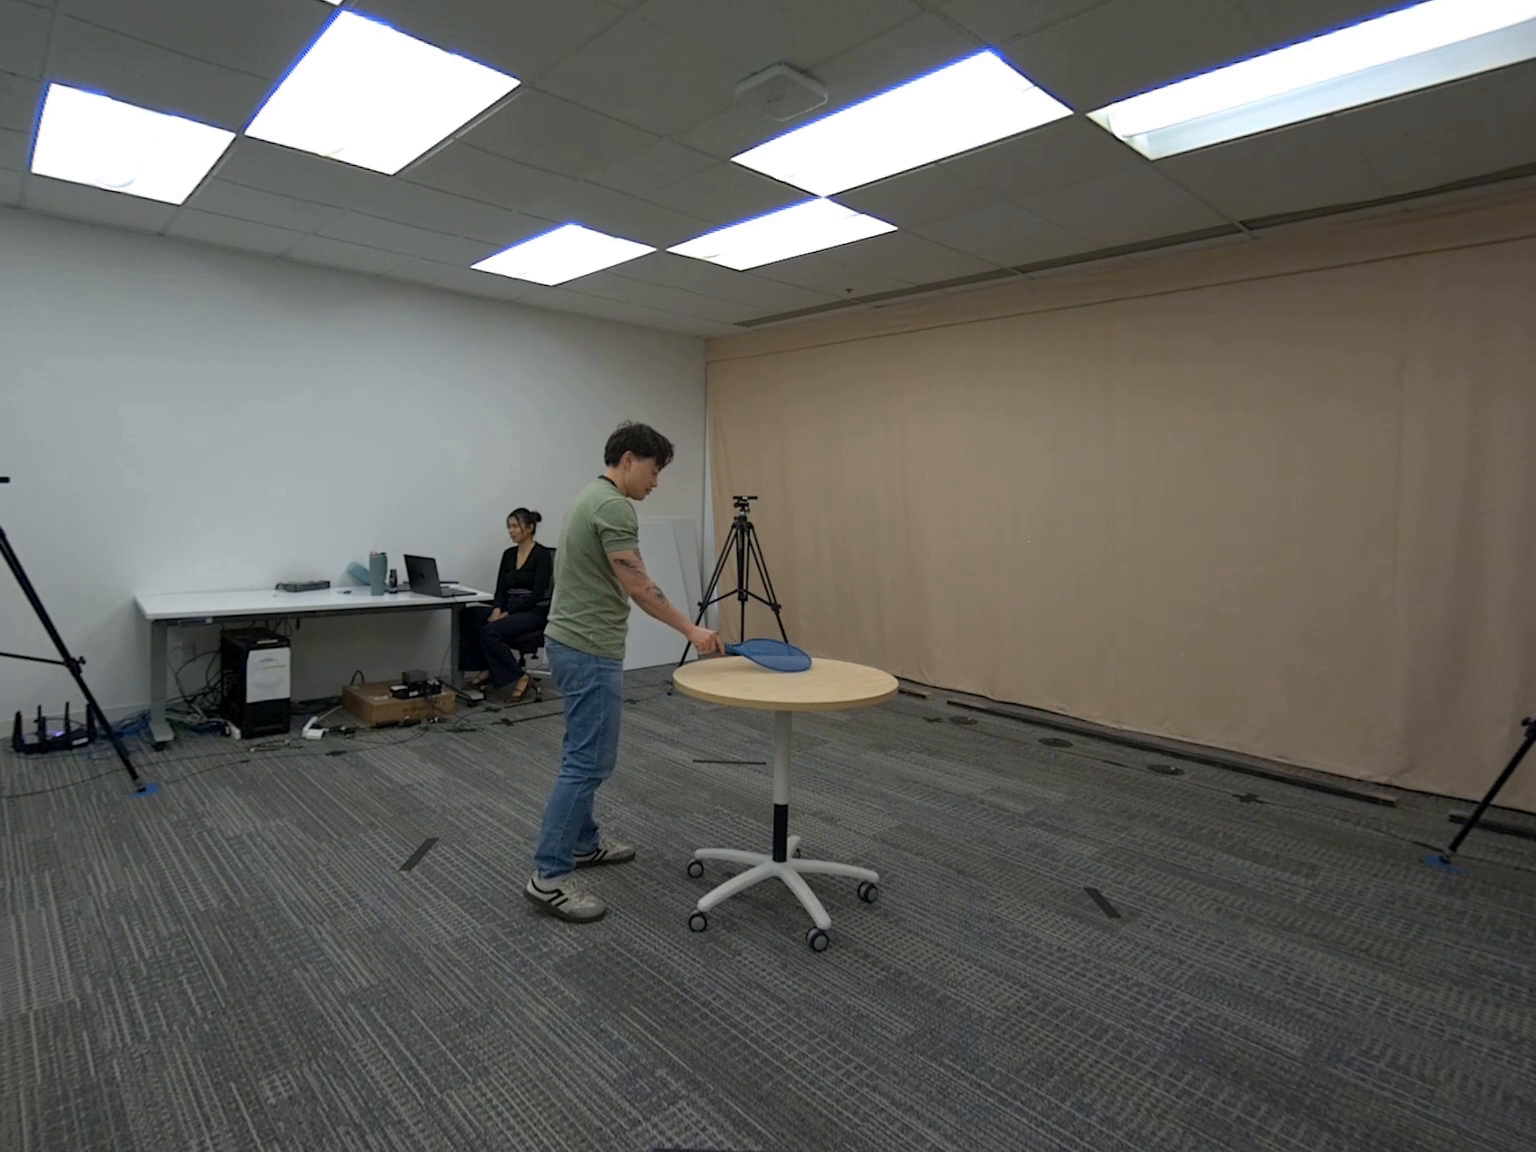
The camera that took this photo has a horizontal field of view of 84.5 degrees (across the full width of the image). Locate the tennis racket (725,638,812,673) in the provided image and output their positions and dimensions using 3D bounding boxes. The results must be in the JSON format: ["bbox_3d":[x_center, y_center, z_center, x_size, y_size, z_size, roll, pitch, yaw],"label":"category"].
[{"bbox_3d":[-0.050,0.273,2.978,0.425,0.031,0.219,9,23,-21],"label":"tennis racket"}]
